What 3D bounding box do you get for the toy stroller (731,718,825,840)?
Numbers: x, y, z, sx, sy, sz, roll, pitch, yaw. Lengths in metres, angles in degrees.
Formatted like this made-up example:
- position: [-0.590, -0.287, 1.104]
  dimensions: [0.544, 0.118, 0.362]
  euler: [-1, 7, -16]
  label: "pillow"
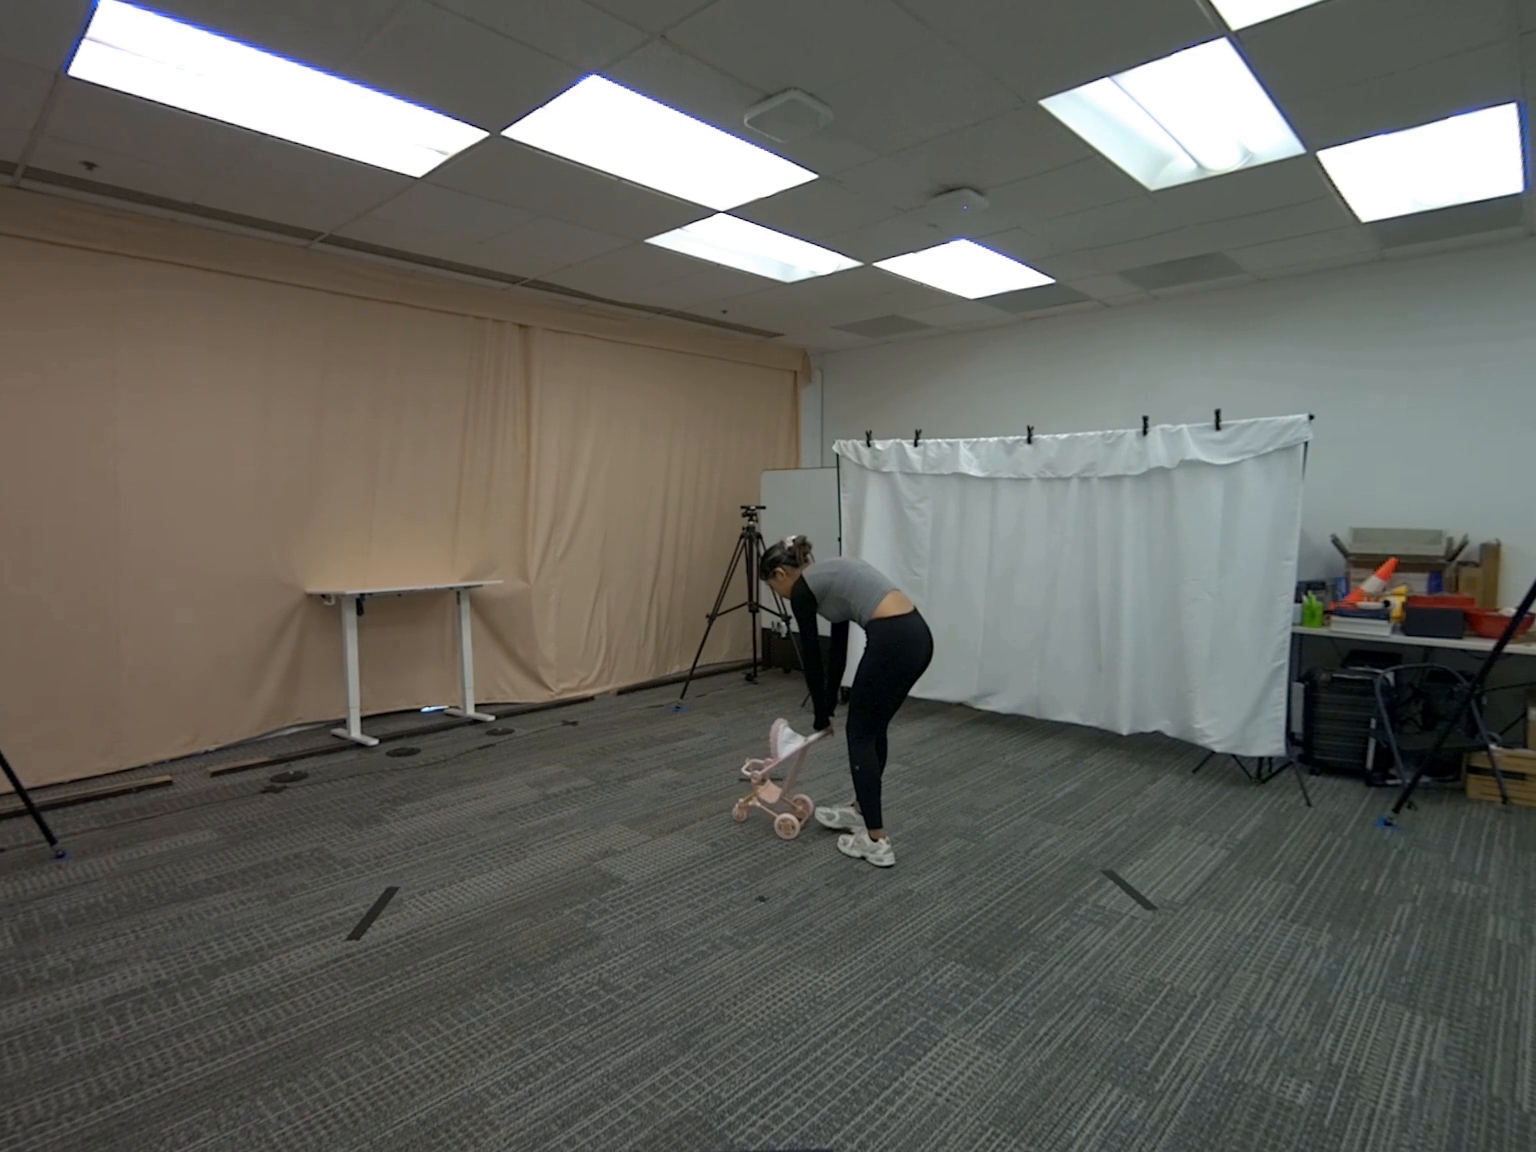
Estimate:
- position: [0.042, 0.857, 3.650]
  dimensions: [0.350, 0.533, 0.275]
  euler: [15, 8, 22]
  label: "toy stroller"
